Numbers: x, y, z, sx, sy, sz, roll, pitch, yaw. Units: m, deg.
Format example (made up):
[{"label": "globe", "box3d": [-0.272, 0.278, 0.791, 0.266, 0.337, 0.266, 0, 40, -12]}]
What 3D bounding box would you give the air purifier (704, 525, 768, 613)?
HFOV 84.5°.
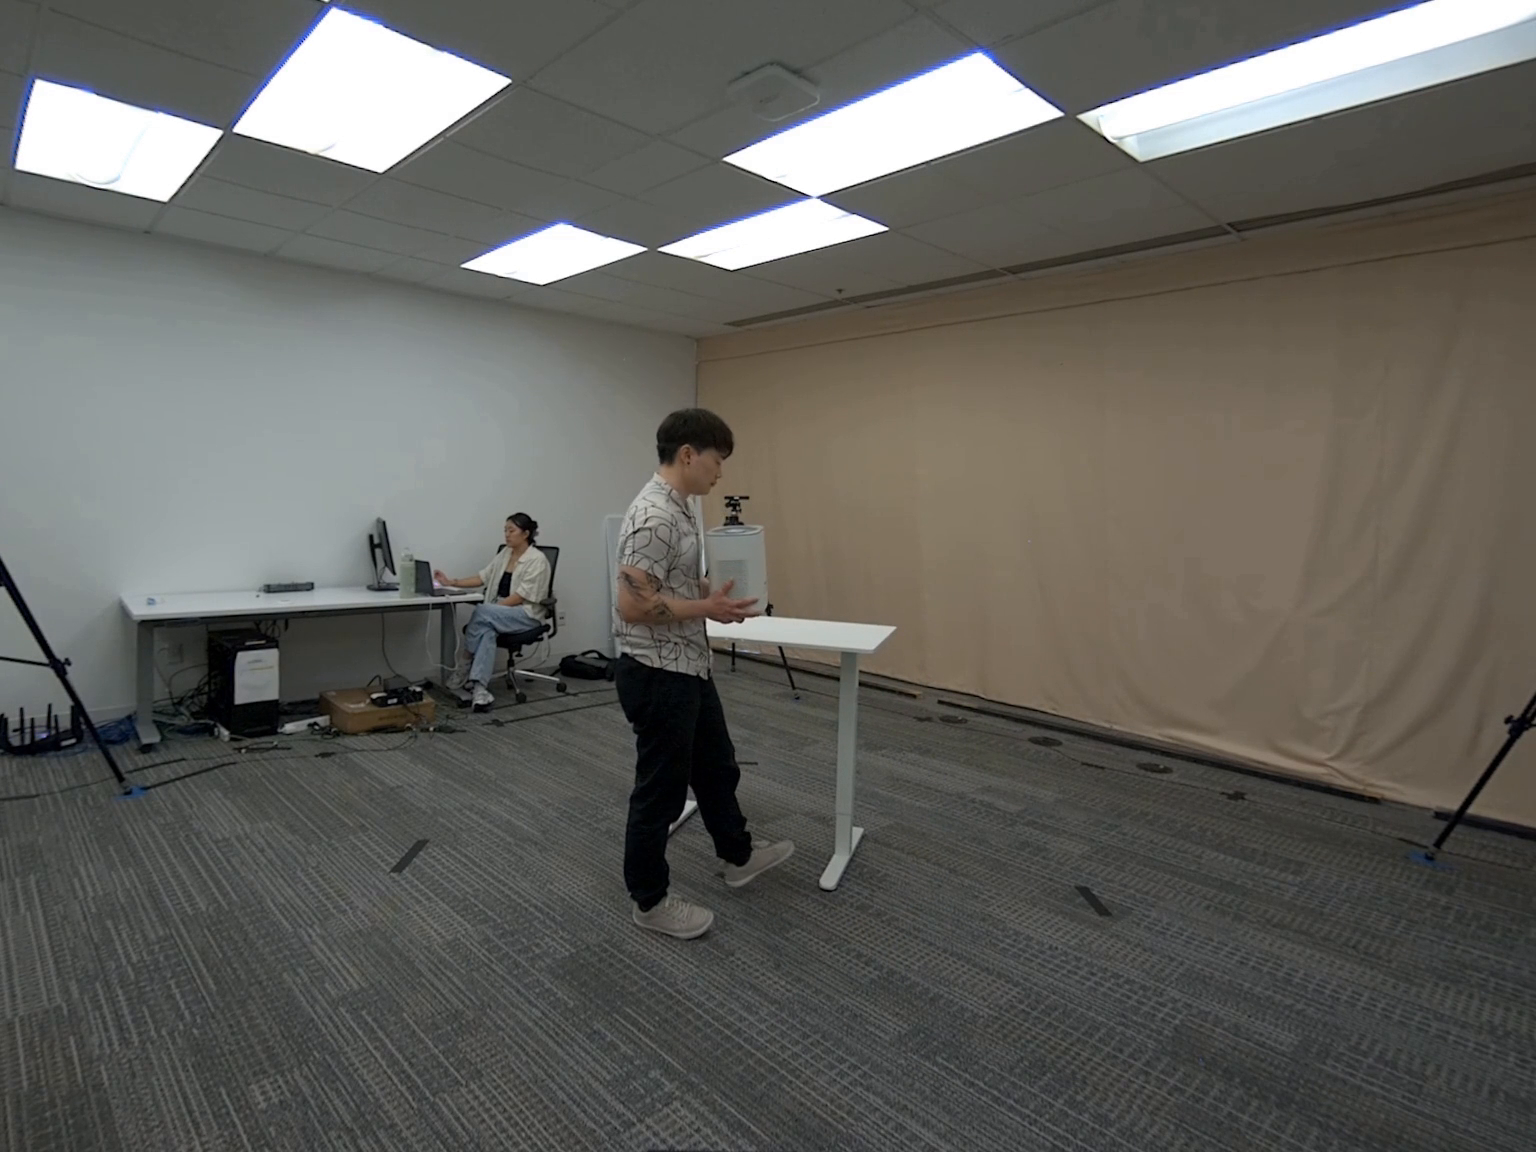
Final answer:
[{"label": "air purifier", "box3d": [-0.094, -0.012, 2.616, 0.173, 0.263, 0.171, -2, 12, 12]}]
